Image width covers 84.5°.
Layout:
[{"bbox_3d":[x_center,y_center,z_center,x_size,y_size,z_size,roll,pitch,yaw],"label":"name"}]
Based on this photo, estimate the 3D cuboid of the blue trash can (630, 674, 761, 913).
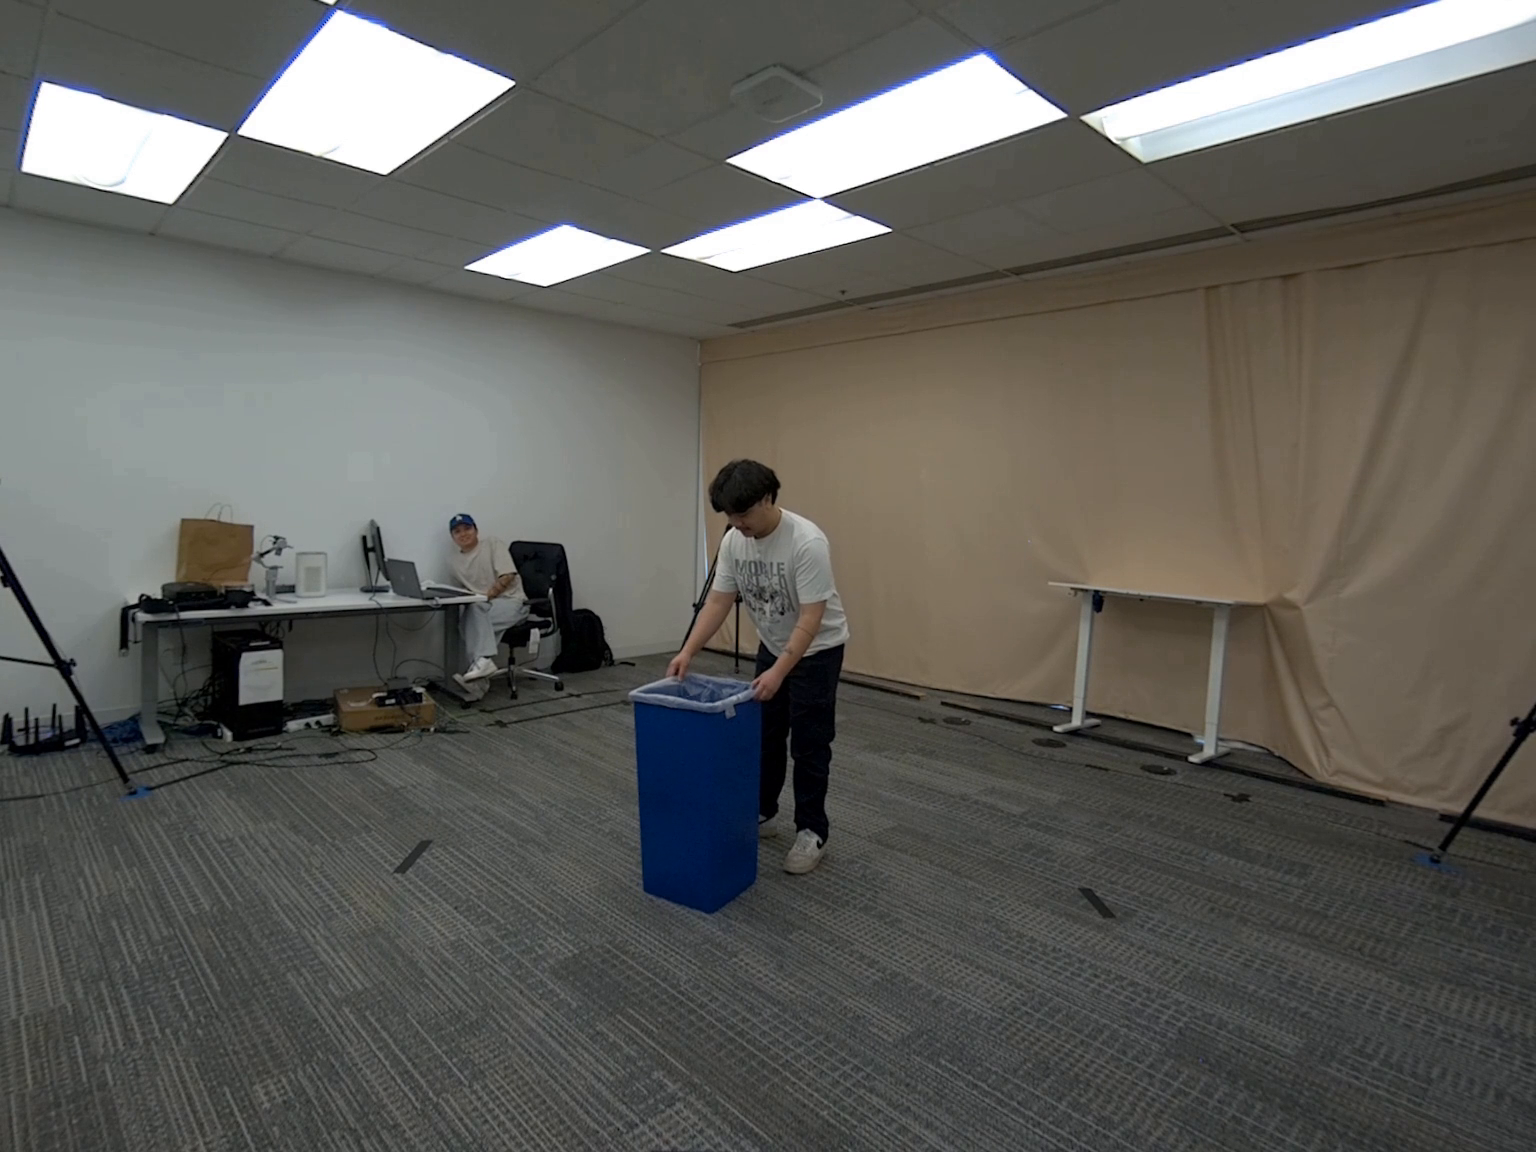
[{"bbox_3d":[-0.253,0.750,2.993,0.382,0.712,0.371,2,4,31],"label":"blue trash can"}]
